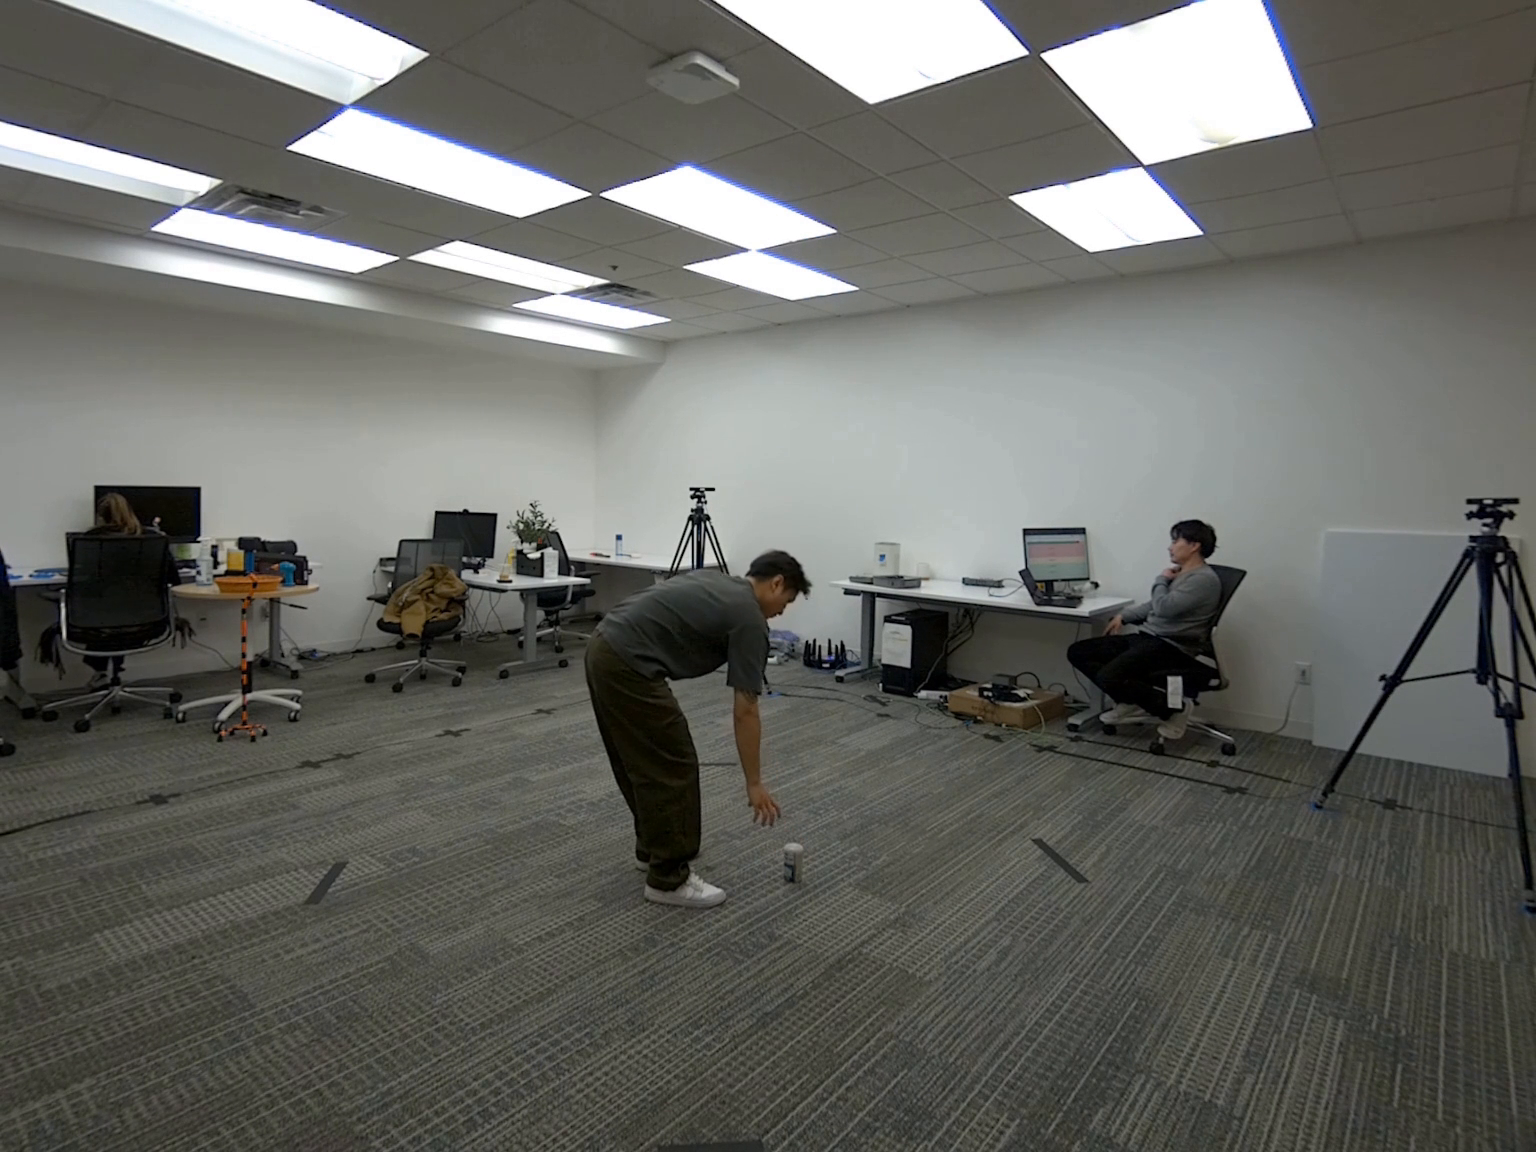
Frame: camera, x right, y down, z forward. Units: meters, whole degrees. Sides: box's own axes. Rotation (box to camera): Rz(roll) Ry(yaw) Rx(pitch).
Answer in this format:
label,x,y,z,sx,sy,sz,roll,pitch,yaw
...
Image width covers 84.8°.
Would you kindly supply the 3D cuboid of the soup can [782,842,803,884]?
label,x,y,z,sx,sy,sz,roll,pitch,yaw
soup can,0.082,1.021,3.032,0.067,0.121,0.067,3,2,-2
